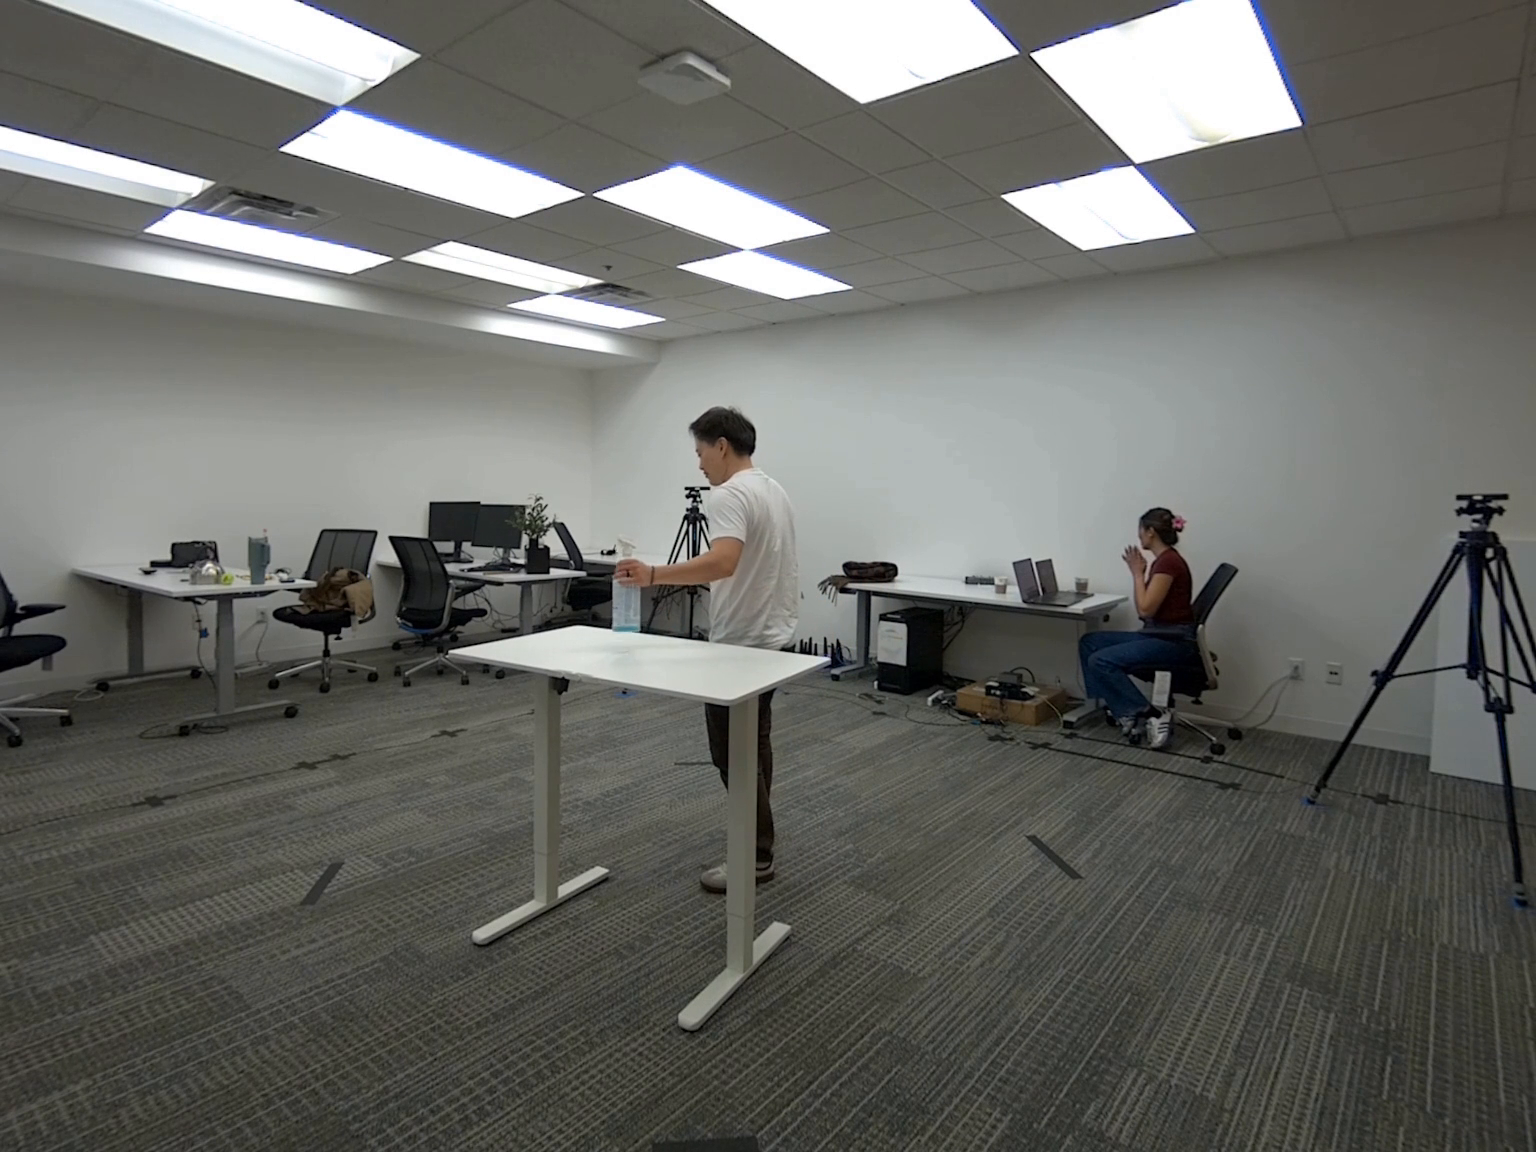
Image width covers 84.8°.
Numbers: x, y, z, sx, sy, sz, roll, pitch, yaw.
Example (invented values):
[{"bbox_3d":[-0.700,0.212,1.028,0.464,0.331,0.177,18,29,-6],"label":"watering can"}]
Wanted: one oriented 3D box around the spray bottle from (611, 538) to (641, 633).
[{"bbox_3d":[-0.451,0.024,2.656,0.087,0.300,0.089,4,-10,-36],"label":"spray bottle"}]
